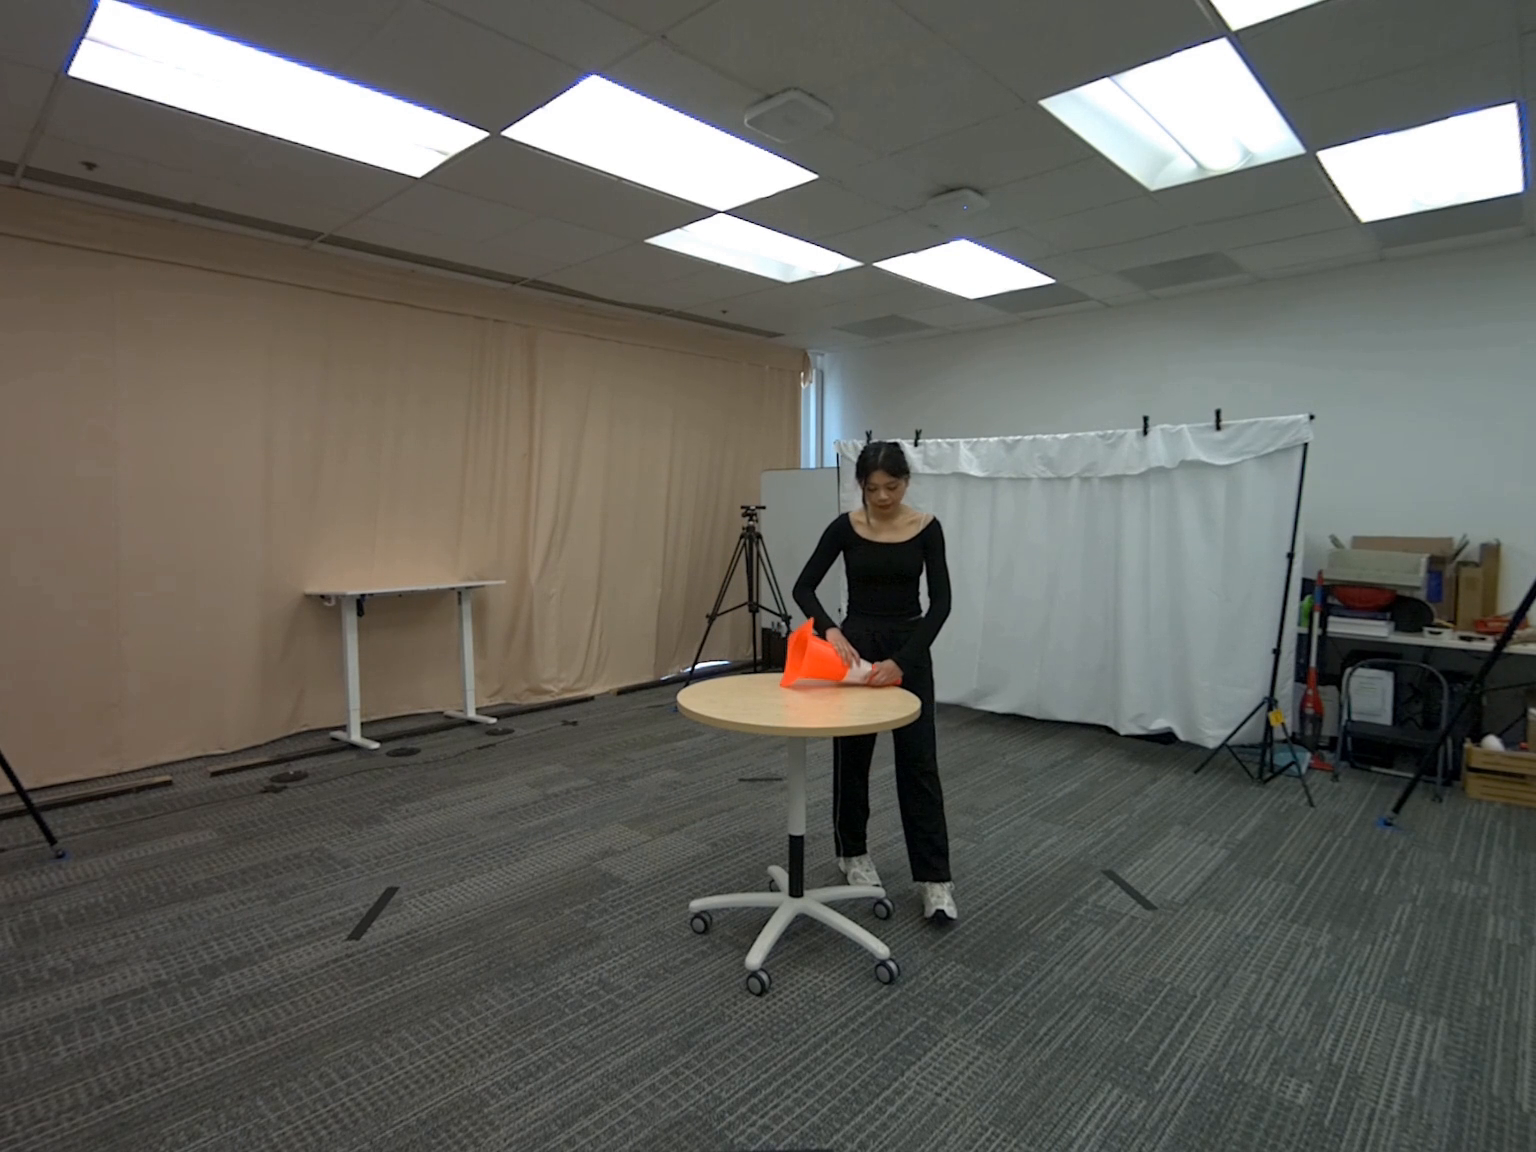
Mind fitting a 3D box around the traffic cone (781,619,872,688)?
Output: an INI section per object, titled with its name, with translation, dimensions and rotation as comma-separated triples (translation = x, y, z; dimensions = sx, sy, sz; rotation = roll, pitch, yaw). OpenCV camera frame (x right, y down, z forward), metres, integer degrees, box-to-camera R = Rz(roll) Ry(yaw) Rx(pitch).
[traffic cone]
translation = 0.274, 0.317, 2.834
dimensions = 0.378, 0.205, 0.206
rotation = 19, -24, -11
